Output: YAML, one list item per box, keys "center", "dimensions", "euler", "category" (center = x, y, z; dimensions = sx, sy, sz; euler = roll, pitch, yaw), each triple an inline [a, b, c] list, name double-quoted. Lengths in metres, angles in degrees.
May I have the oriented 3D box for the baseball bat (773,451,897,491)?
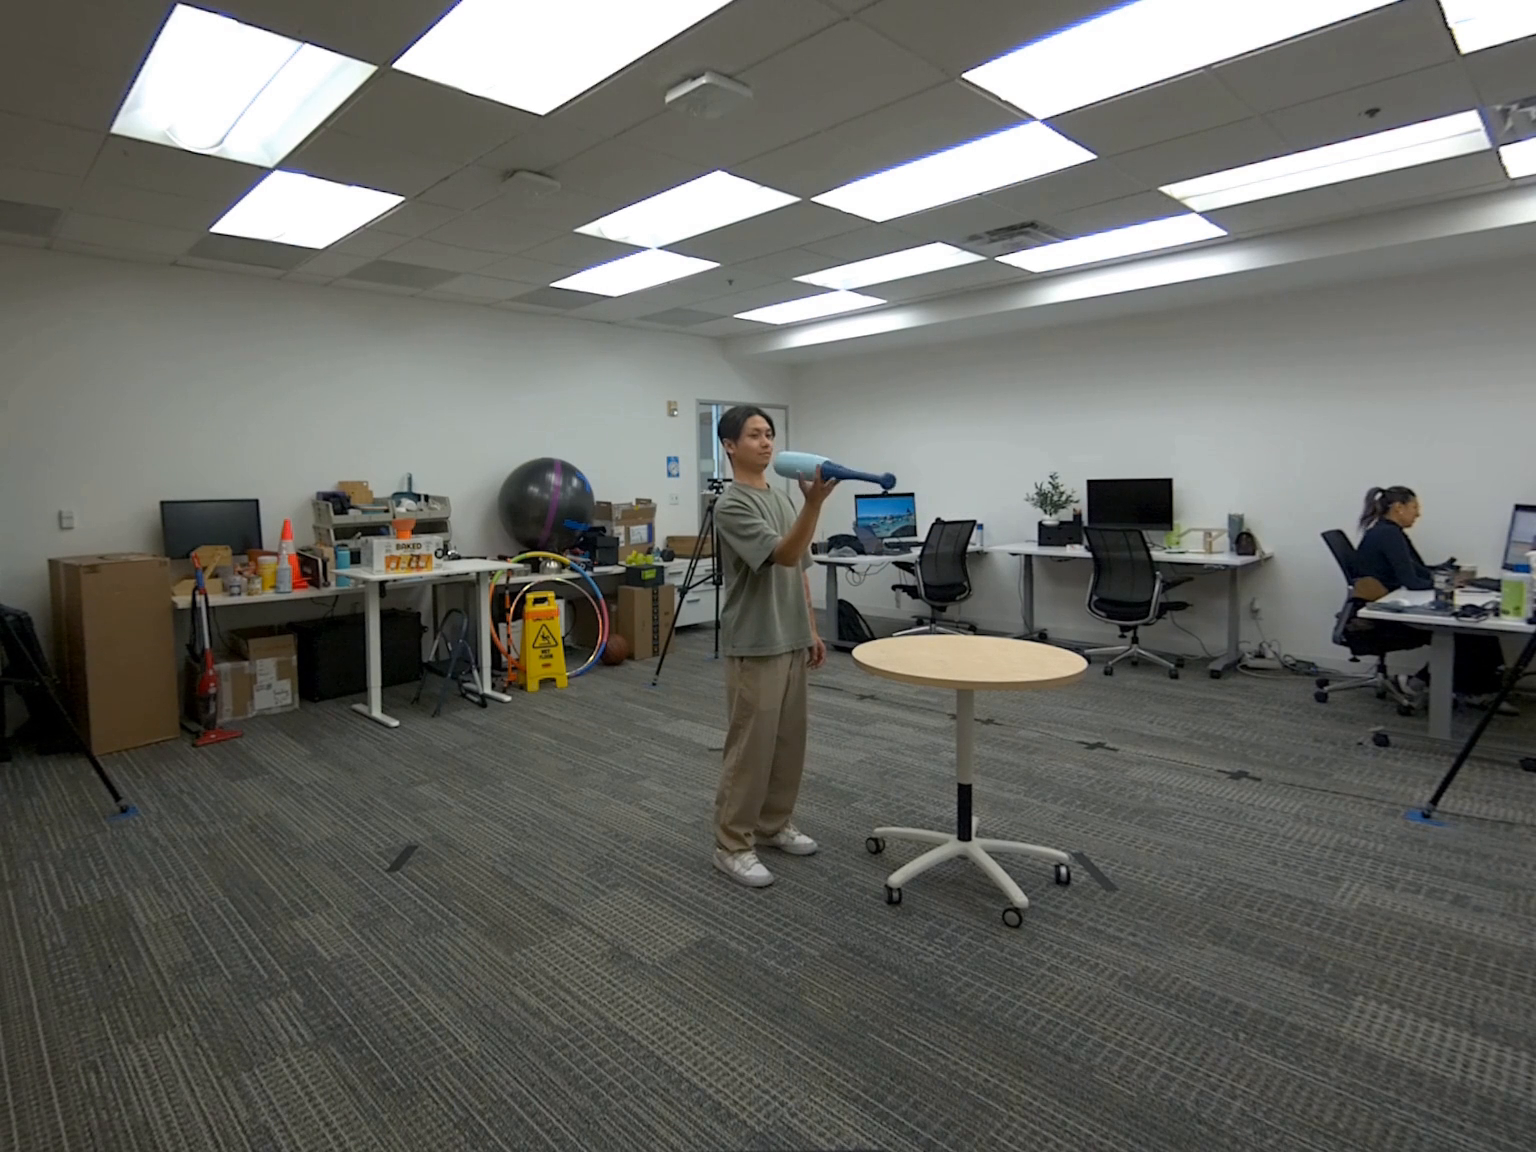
- center: [0.201, -0.317, 2.610]
  dimensions: [0.087, 0.088, 0.561]
  euler: [-4, 14, -31]
  category: "baseball bat"
